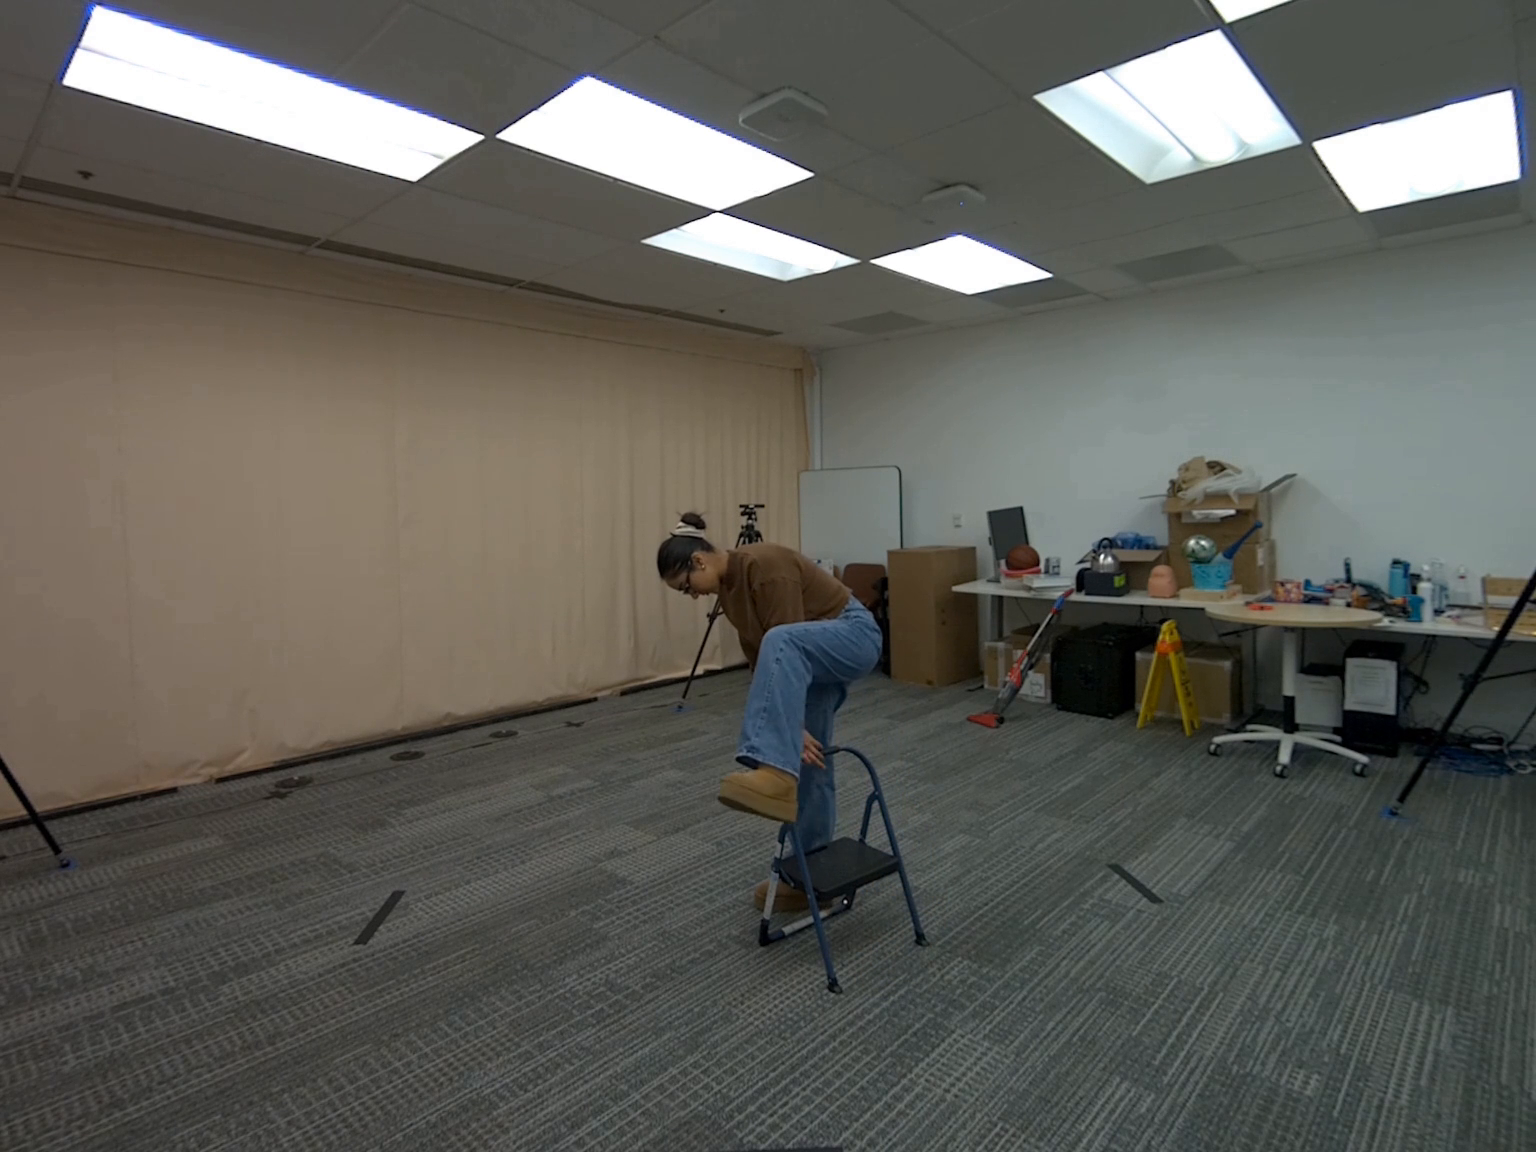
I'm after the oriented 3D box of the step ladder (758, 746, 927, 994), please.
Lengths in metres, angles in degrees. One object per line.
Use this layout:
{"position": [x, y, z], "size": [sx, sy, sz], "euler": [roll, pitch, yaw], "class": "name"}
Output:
{"position": [0.236, 0.861, 2.640], "size": [0.418, 0.605, 0.360], "euler": [-4, 4, -40], "class": "step ladder"}
